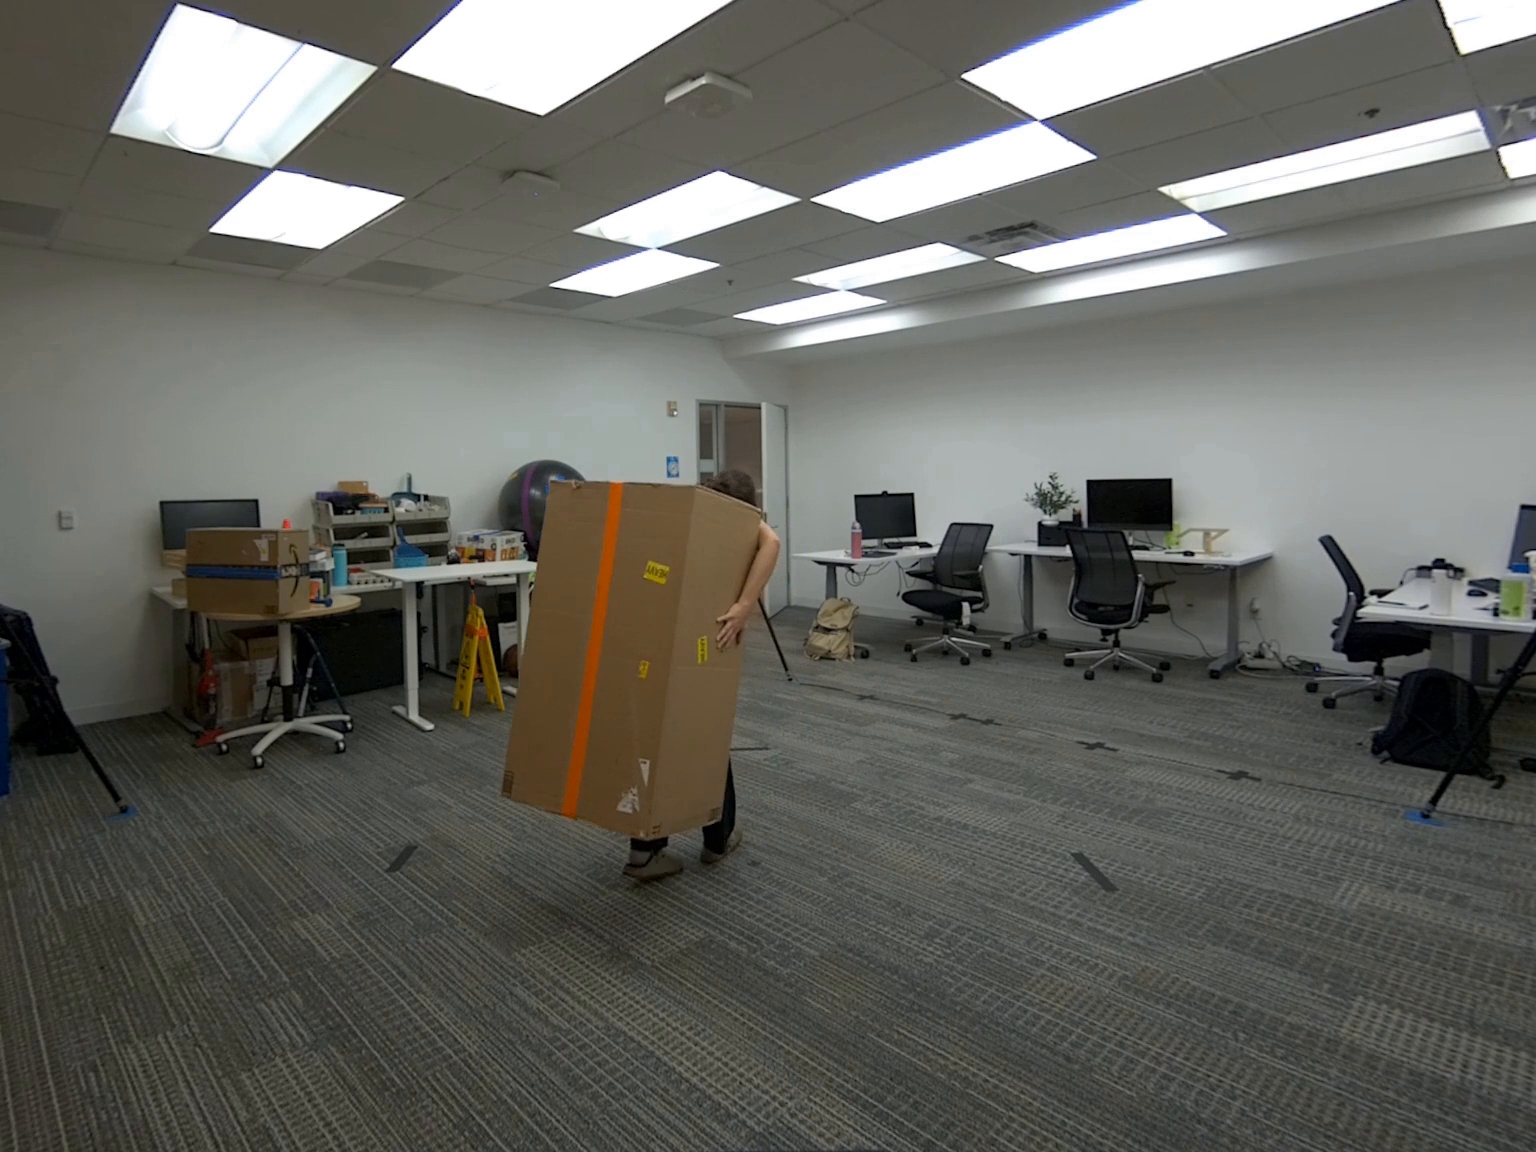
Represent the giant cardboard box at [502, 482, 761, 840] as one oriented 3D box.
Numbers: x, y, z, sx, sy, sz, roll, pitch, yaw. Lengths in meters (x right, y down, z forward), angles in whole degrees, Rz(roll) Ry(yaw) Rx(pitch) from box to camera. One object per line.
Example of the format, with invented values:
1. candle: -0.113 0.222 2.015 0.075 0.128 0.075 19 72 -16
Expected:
1. giant cardboard box: -0.439 0.242 2.763 0.593 1.030 0.413 4 -6 29
